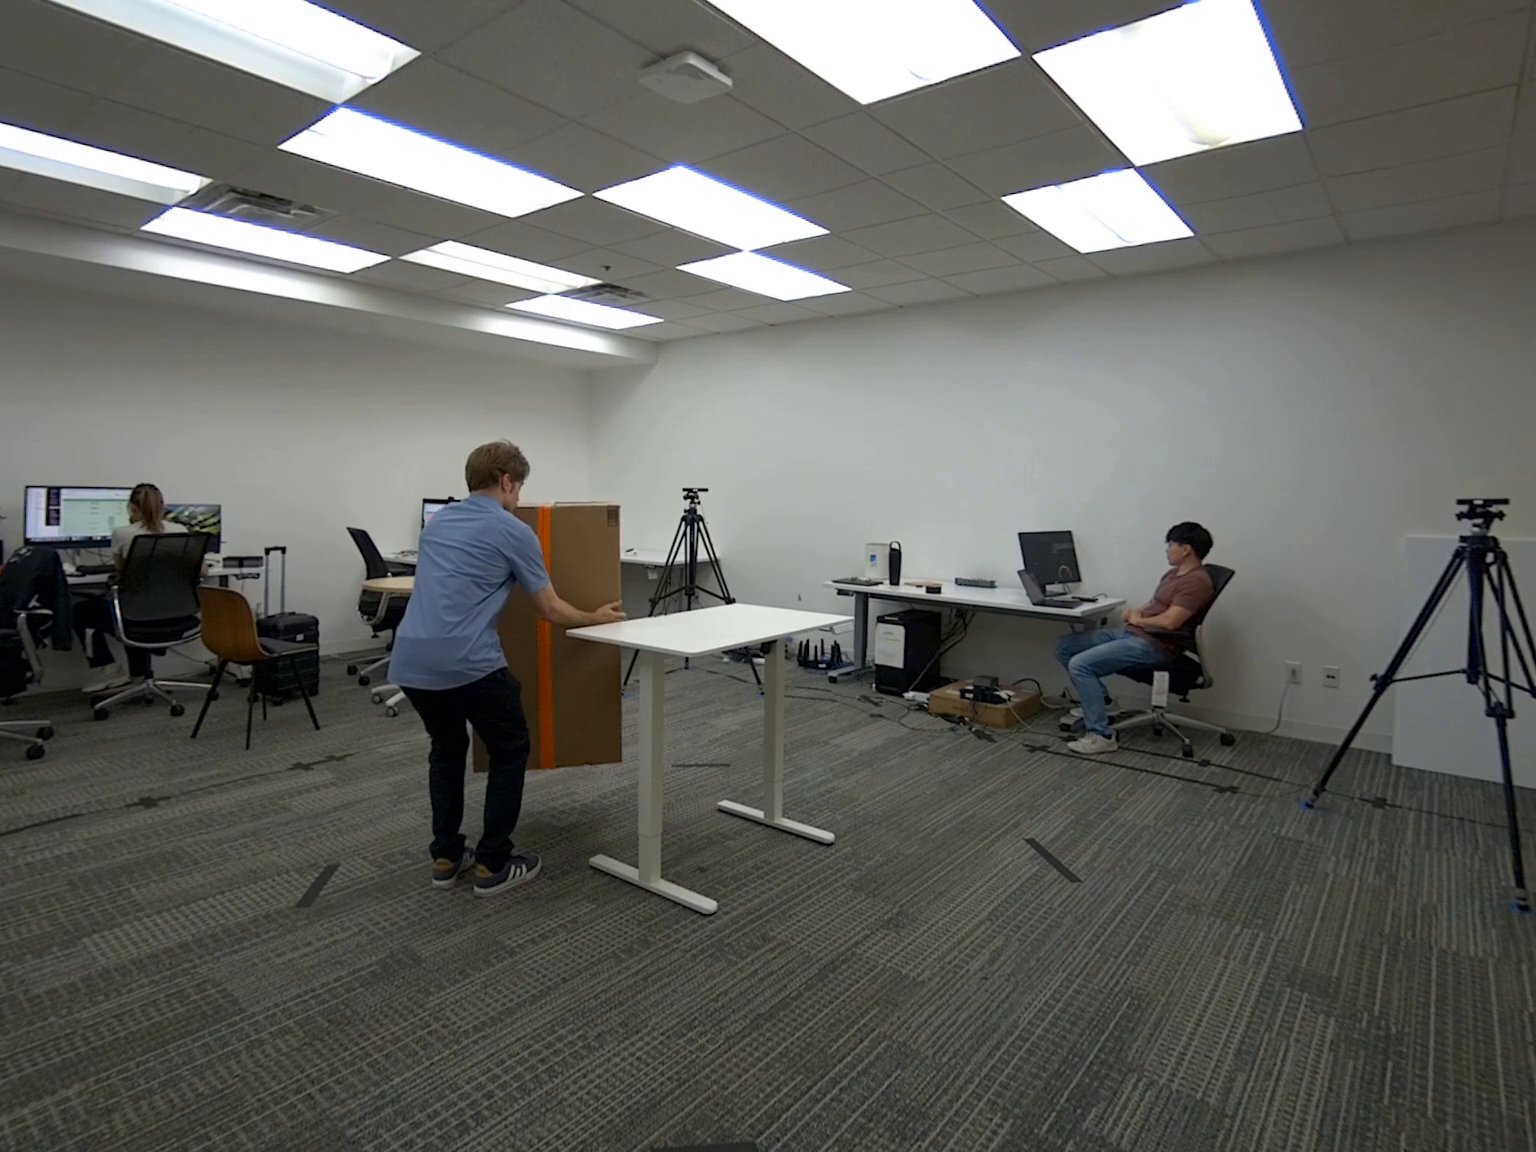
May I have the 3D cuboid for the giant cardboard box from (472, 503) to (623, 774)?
[{"bbox_3d":[-0.915,0.217,3.473,0.570,1.022,0.433,-1,4,-13],"label":"giant cardboard box"}]
